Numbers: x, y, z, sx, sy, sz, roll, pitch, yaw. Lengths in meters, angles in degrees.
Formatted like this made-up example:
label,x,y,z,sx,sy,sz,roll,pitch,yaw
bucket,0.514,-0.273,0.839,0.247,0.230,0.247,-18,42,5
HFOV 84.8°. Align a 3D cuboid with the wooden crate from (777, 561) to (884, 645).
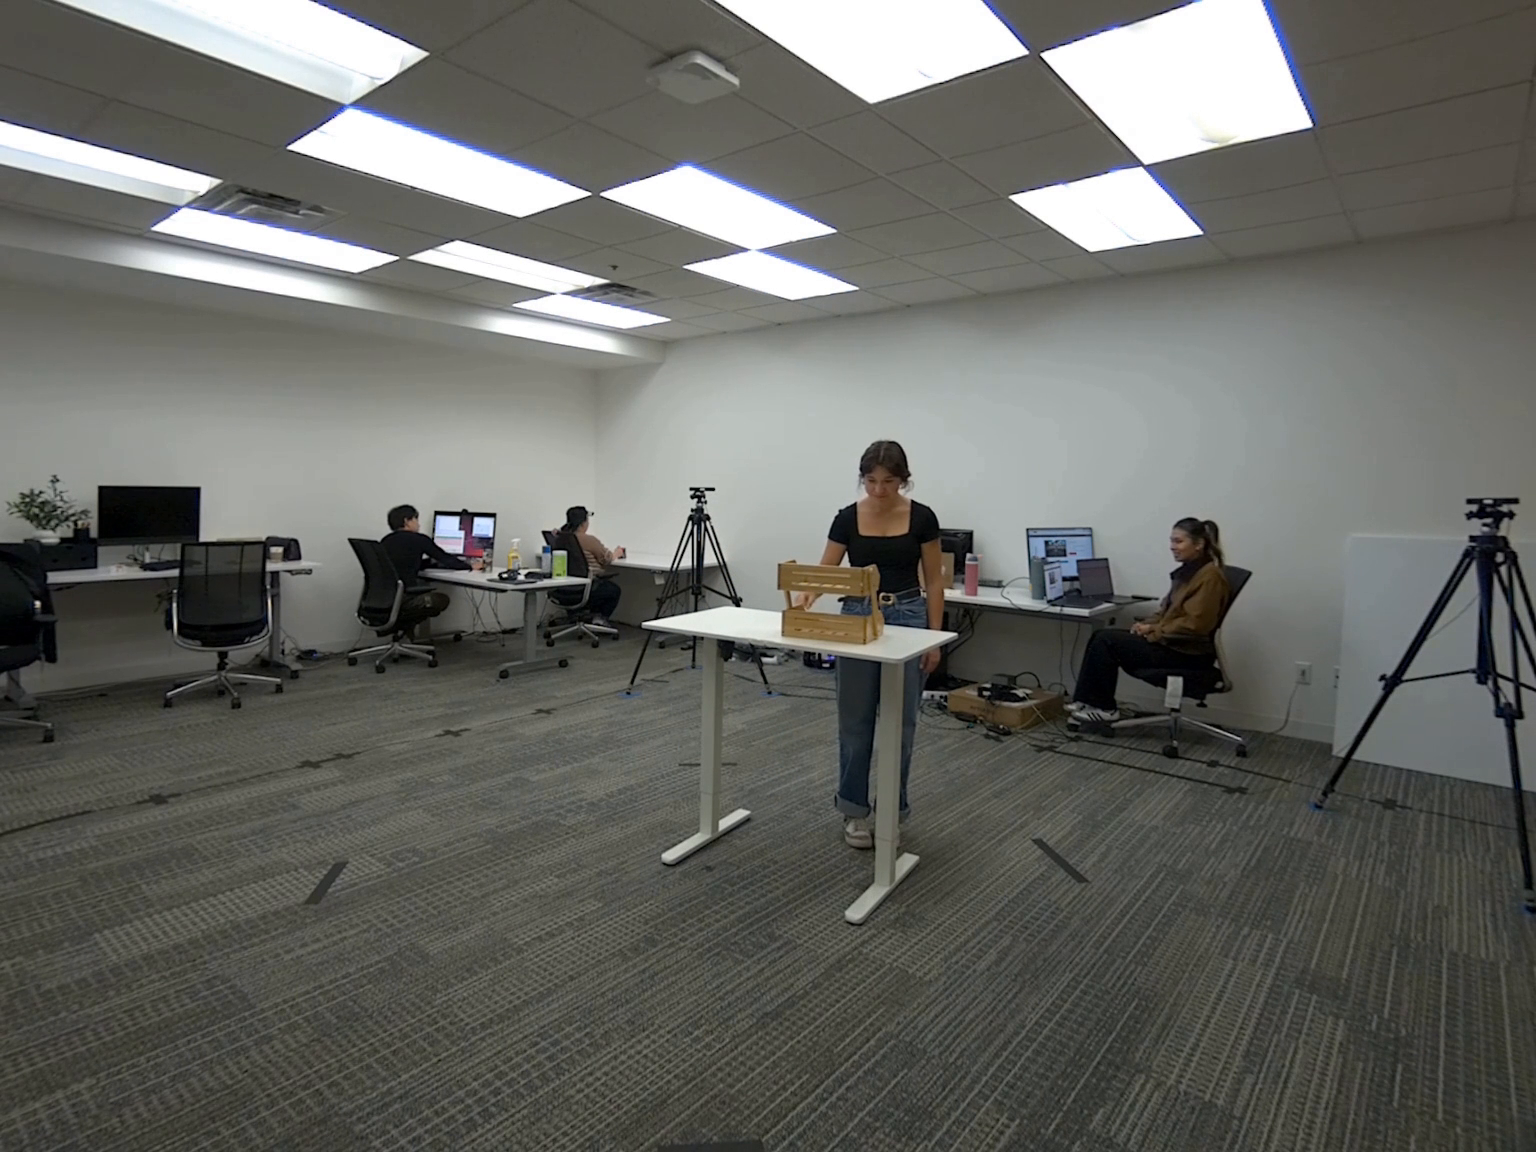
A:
label,x,y,z,sx,sy,sz,roll,pitch,yaw
wooden crate,0.217,0.075,2.976,0.332,0.272,0.296,3,6,22
